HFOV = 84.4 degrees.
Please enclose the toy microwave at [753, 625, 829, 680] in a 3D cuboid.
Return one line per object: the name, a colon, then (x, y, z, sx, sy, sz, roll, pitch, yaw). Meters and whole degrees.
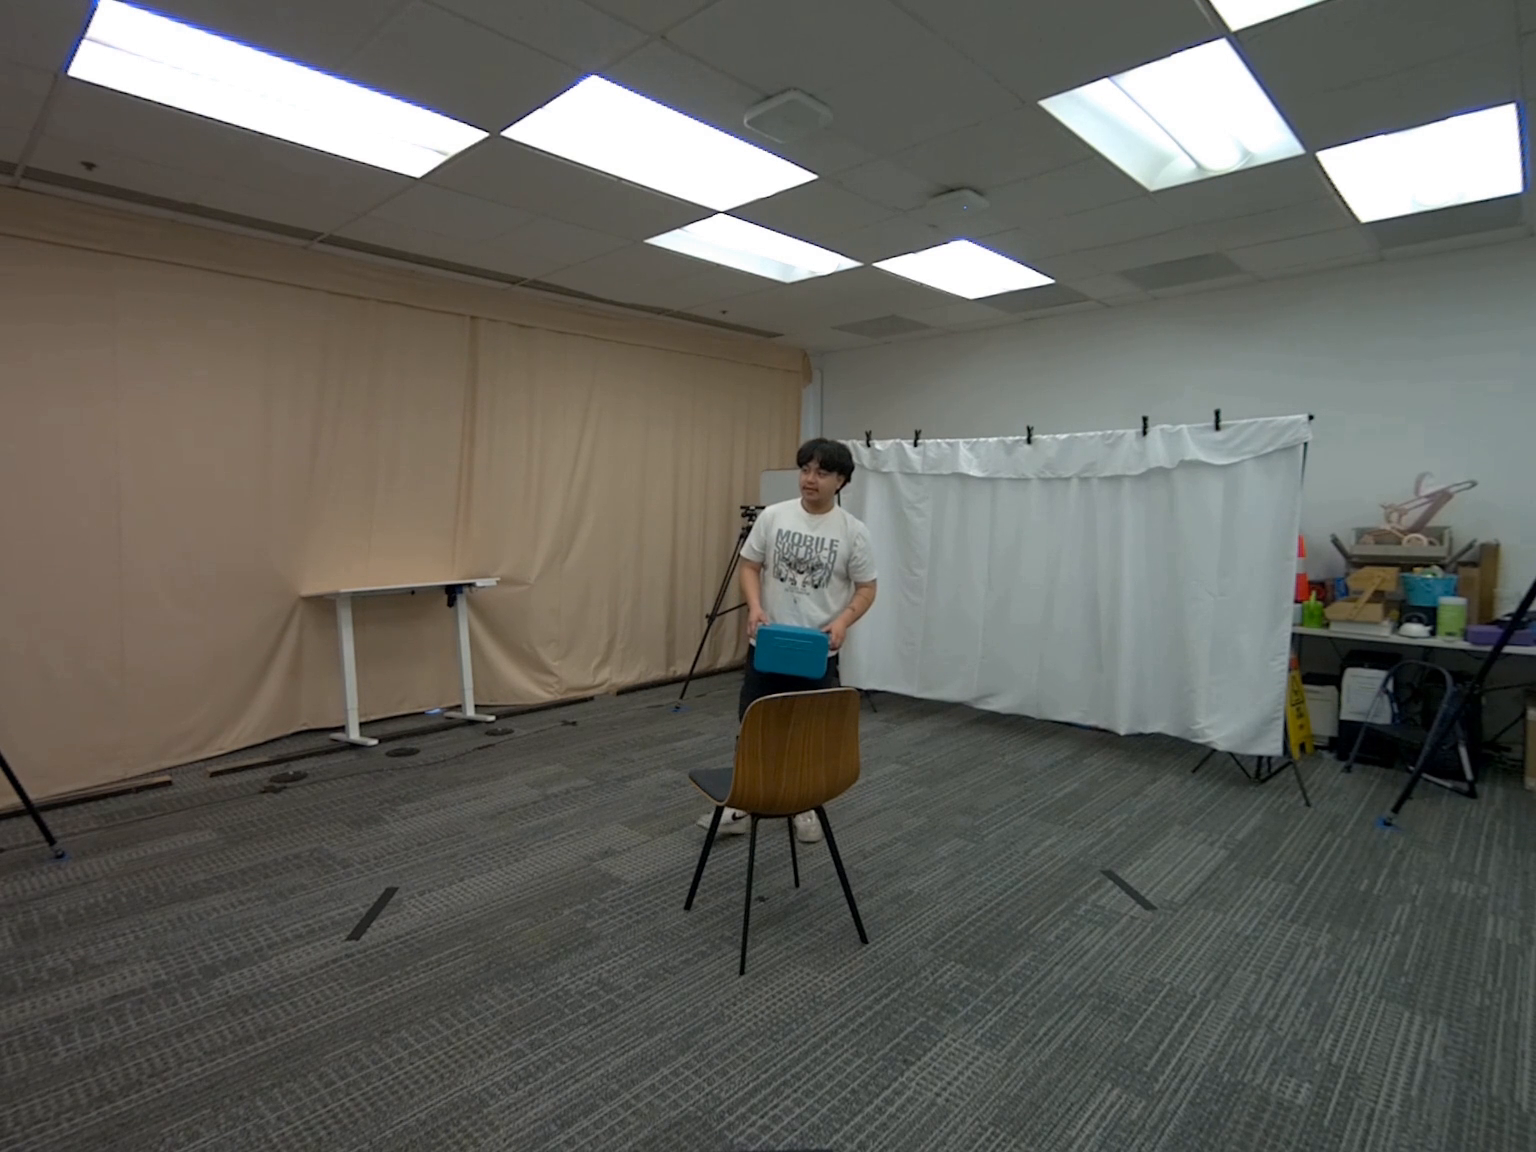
toy microwave: (0.096, 0.298, 3.349, 0.289, 0.183, 0.151, 6, 6, 10)
